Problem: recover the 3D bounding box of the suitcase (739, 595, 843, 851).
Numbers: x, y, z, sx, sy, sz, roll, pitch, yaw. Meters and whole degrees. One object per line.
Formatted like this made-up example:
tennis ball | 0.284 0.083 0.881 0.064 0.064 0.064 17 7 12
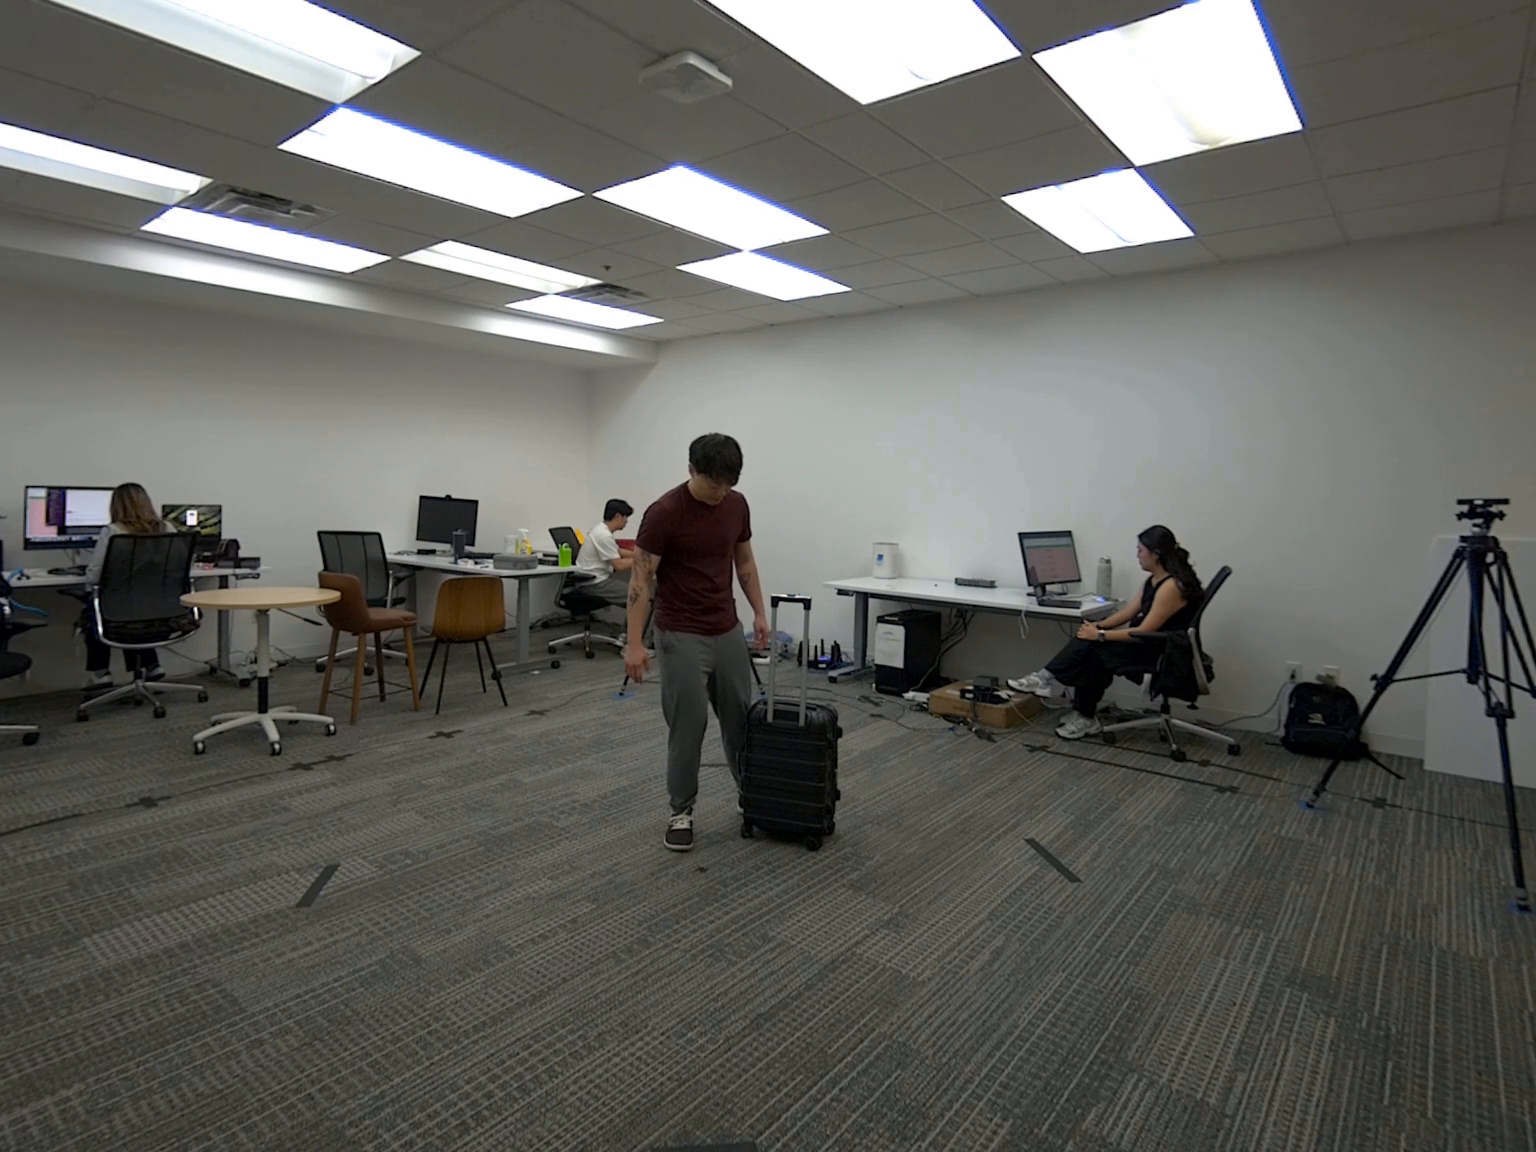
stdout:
suitcase | 0.094 0.568 3.417 0.392 0.977 0.252 3 2 17
